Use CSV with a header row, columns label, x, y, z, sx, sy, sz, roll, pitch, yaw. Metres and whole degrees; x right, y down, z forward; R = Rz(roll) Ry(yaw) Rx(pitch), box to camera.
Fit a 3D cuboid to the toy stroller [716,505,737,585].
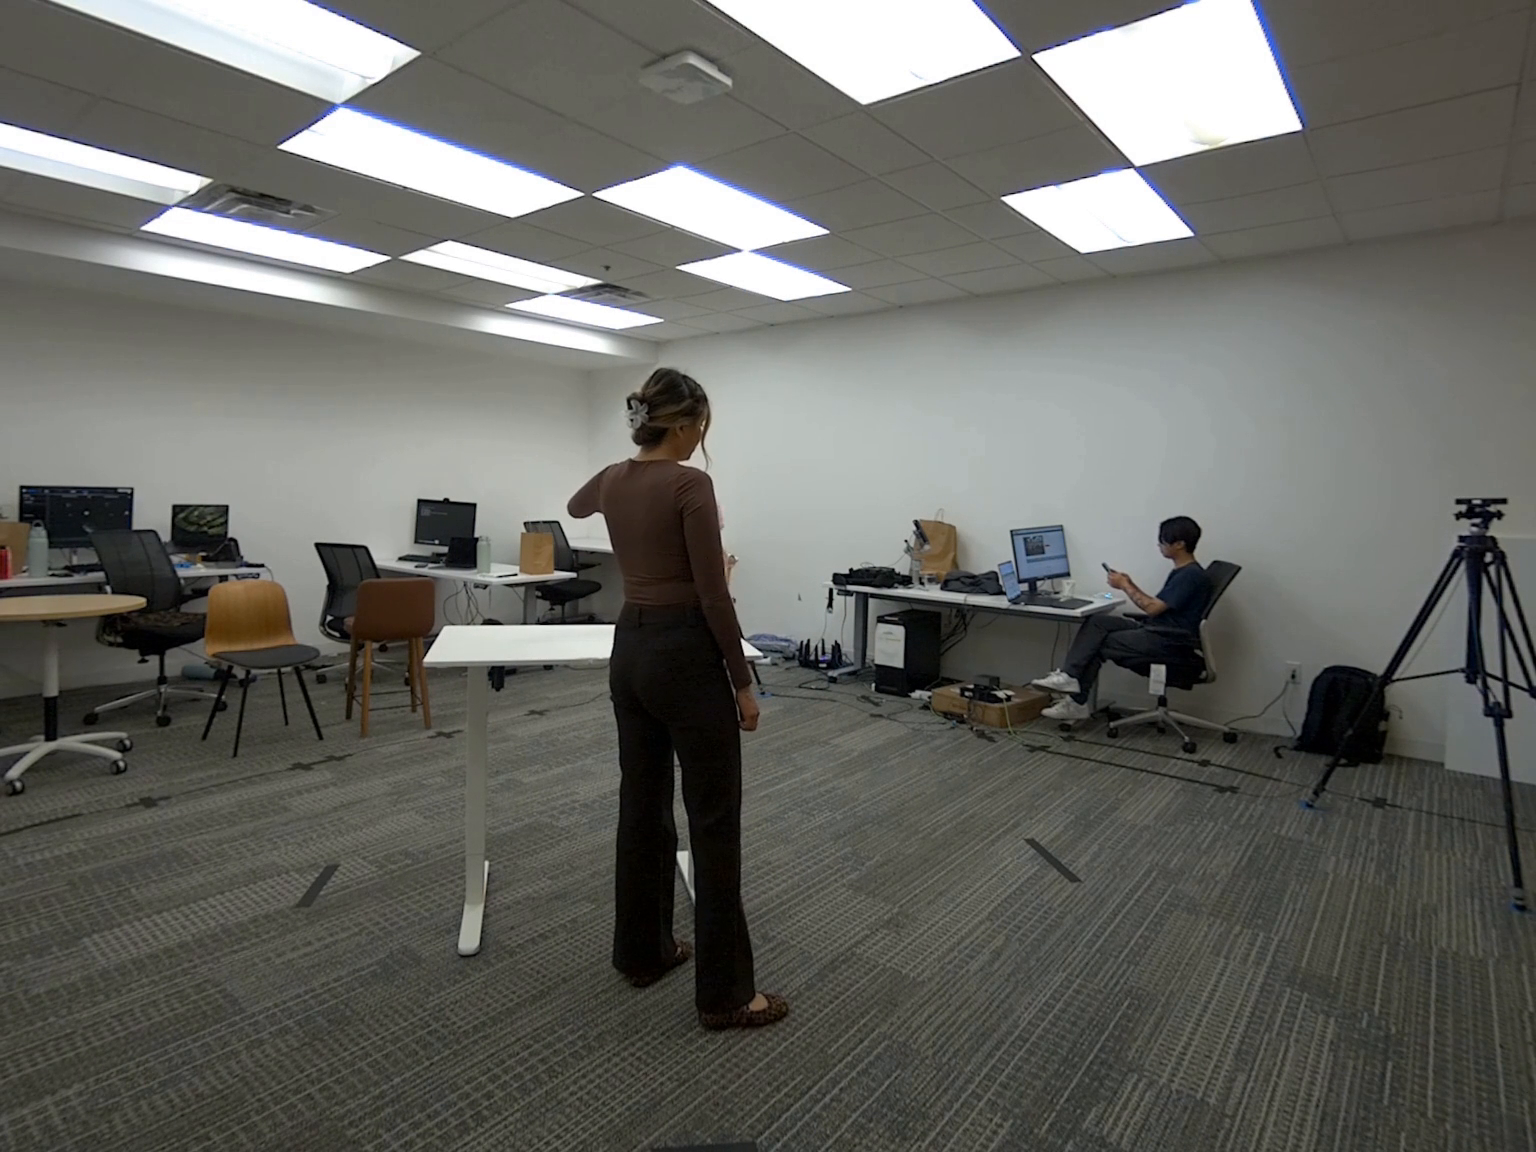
label,x,y,z,sx,sy,sz,roll,pitch,yaw
toy stroller,-0.255,-0.061,2.951,0.291,0.532,0.331,5,7,43
